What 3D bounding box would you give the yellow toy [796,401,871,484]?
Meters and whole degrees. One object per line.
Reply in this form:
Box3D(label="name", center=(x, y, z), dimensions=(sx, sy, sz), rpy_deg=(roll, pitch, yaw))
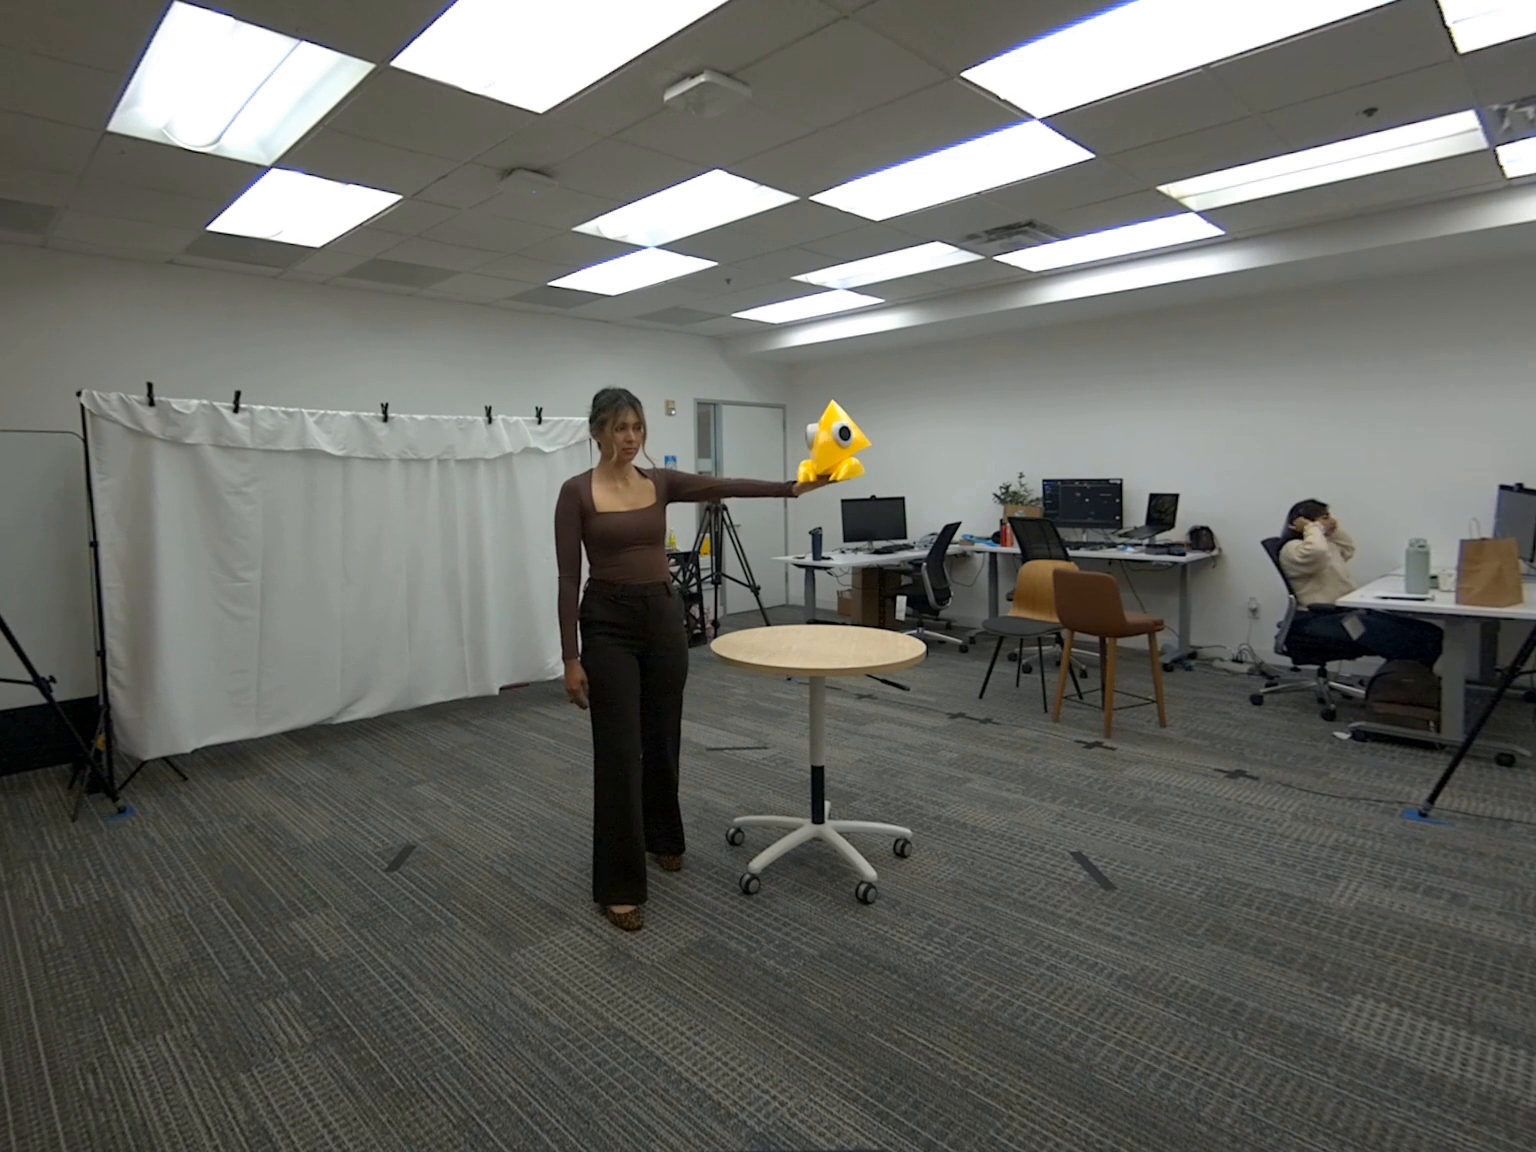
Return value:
Box3D(label="yellow toy", center=(0.186, -0.419, 2.623), dimensions=(0.210, 0.228, 0.190), rpy_deg=(1, 14, 32))
